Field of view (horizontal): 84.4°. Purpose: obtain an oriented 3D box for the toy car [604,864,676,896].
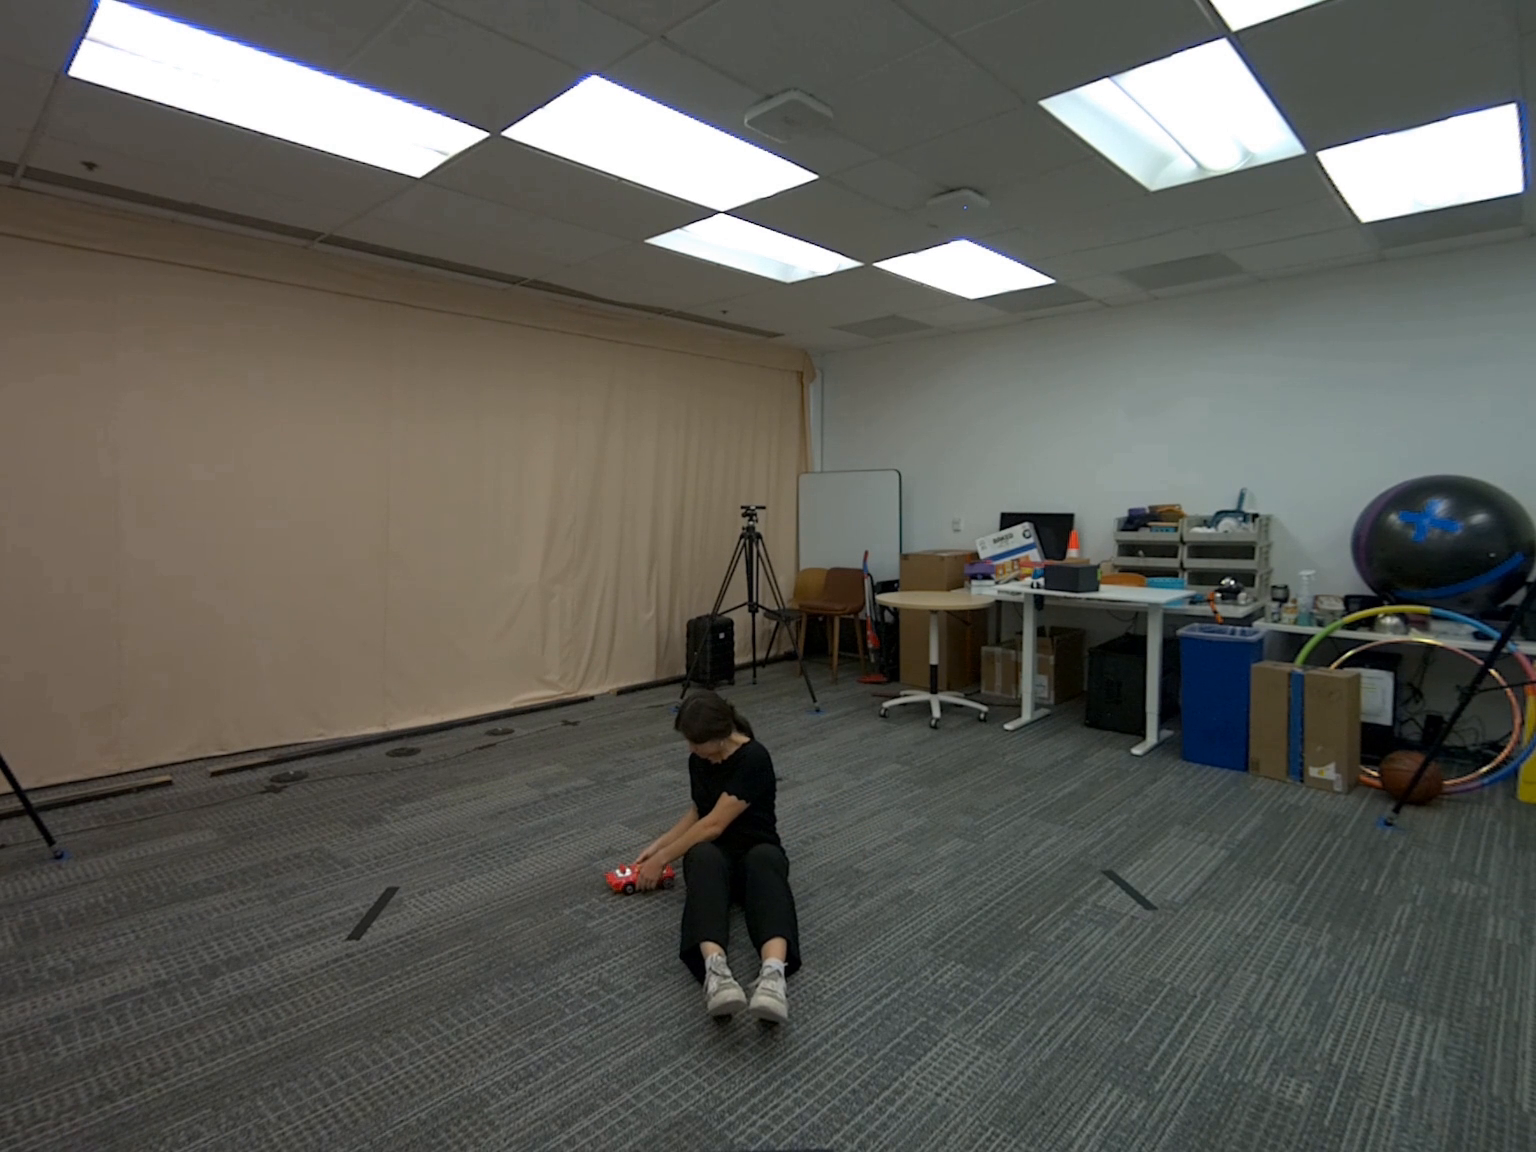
[{"bbox_3d":[-0.478,1.106,3.078,0.249,0.083,0.133,11,-2,-20],"label":"toy car"}]
